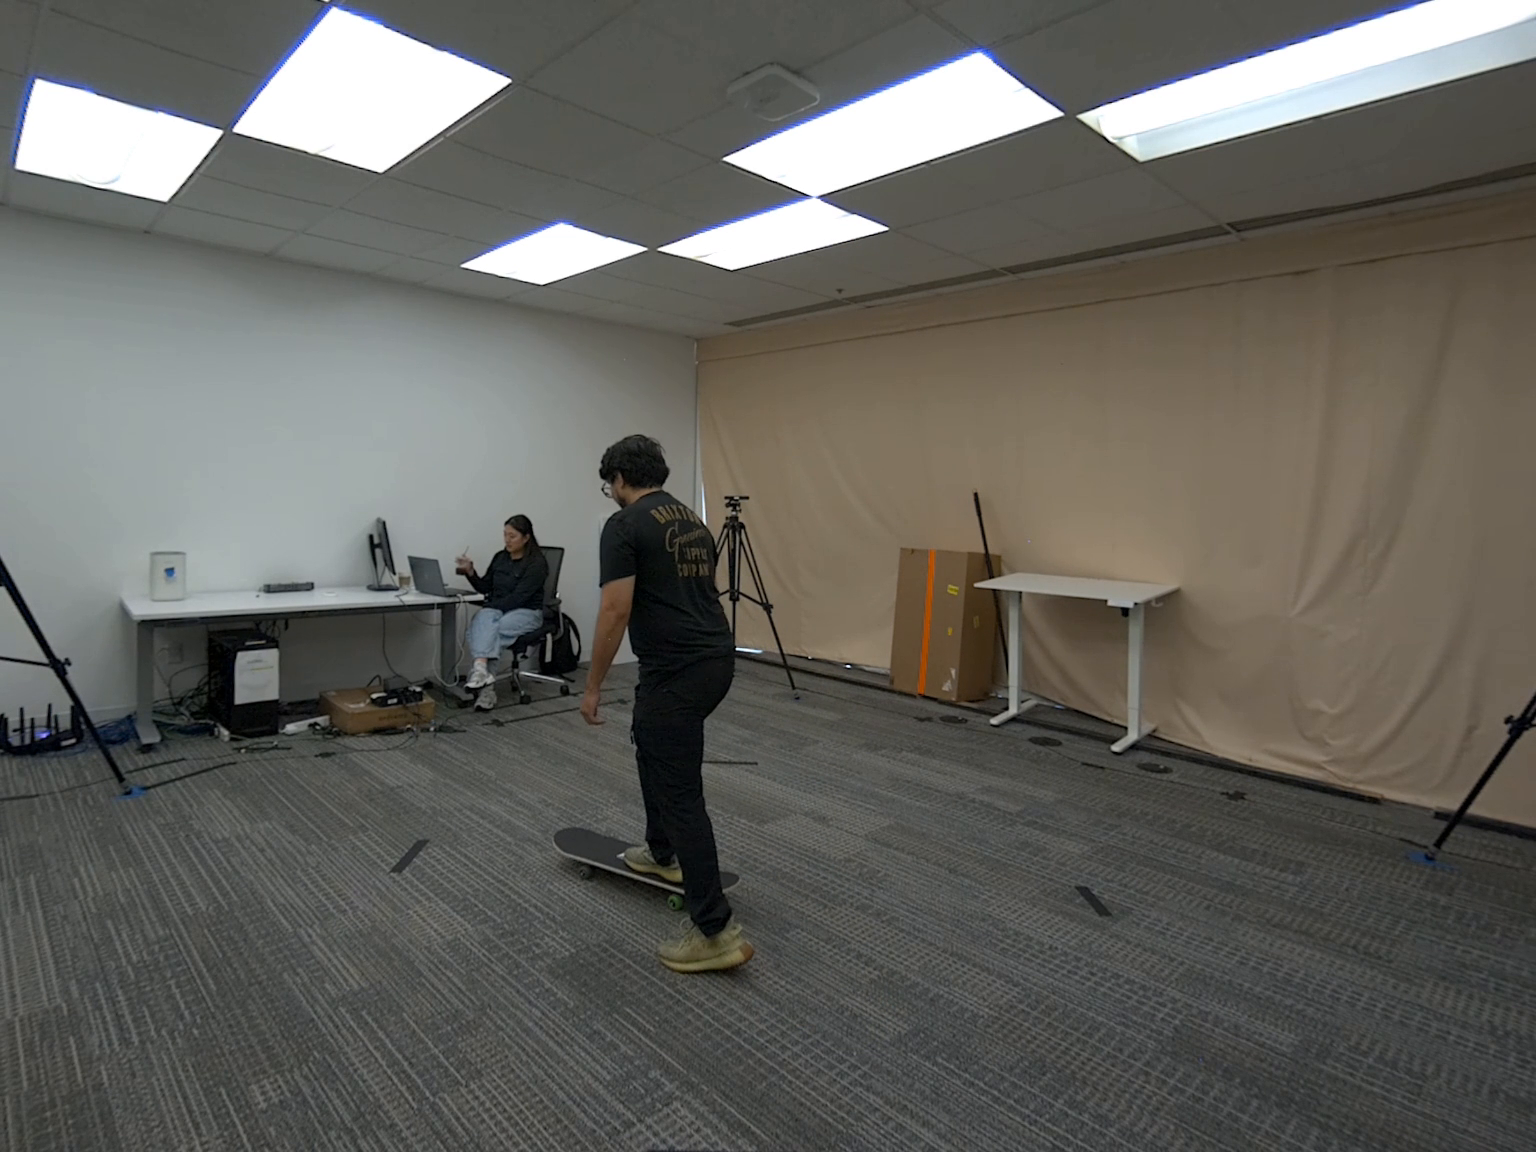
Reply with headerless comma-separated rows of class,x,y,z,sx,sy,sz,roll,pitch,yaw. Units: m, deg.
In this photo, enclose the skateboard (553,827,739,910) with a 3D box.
skateboard,-0.455,1.055,2.999,0.803,0.110,0.190,4,8,30
